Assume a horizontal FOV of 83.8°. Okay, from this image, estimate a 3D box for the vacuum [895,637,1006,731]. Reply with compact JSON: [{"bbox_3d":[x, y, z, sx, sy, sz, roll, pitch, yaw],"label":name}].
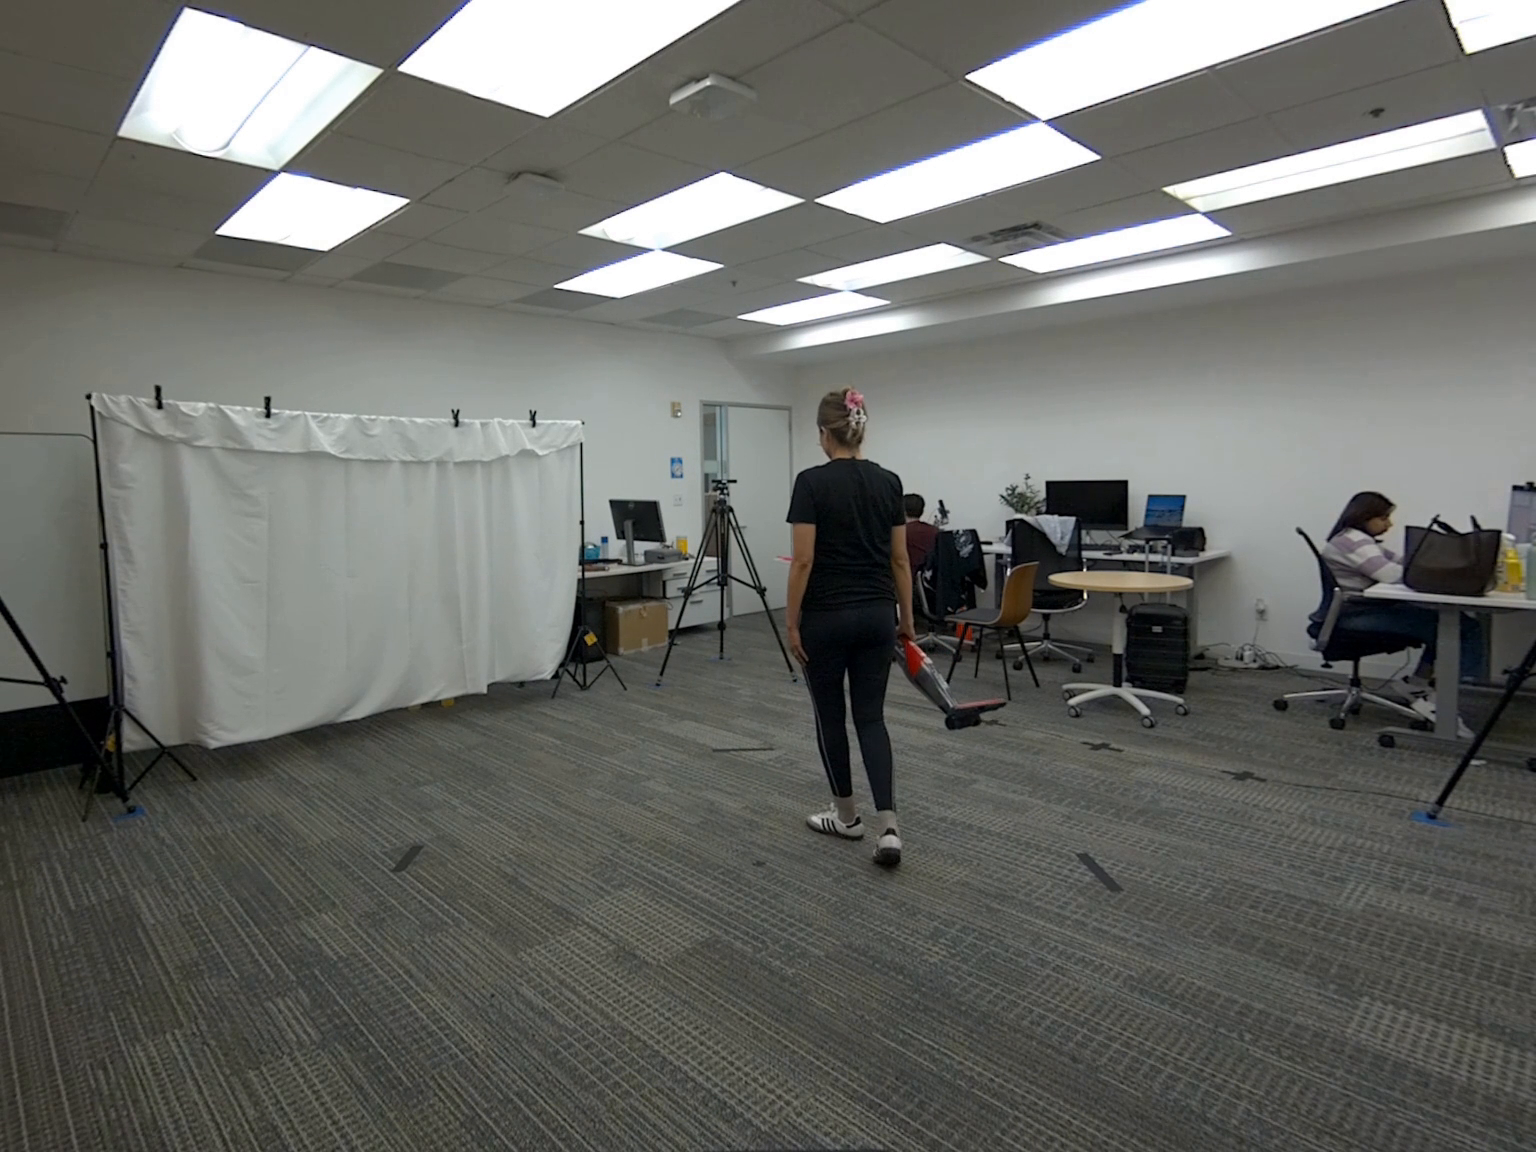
[{"bbox_3d":[0.490,0.246,3.455,0.247,0.141,1.091,-6,32,-27],"label":"vacuum"}]
